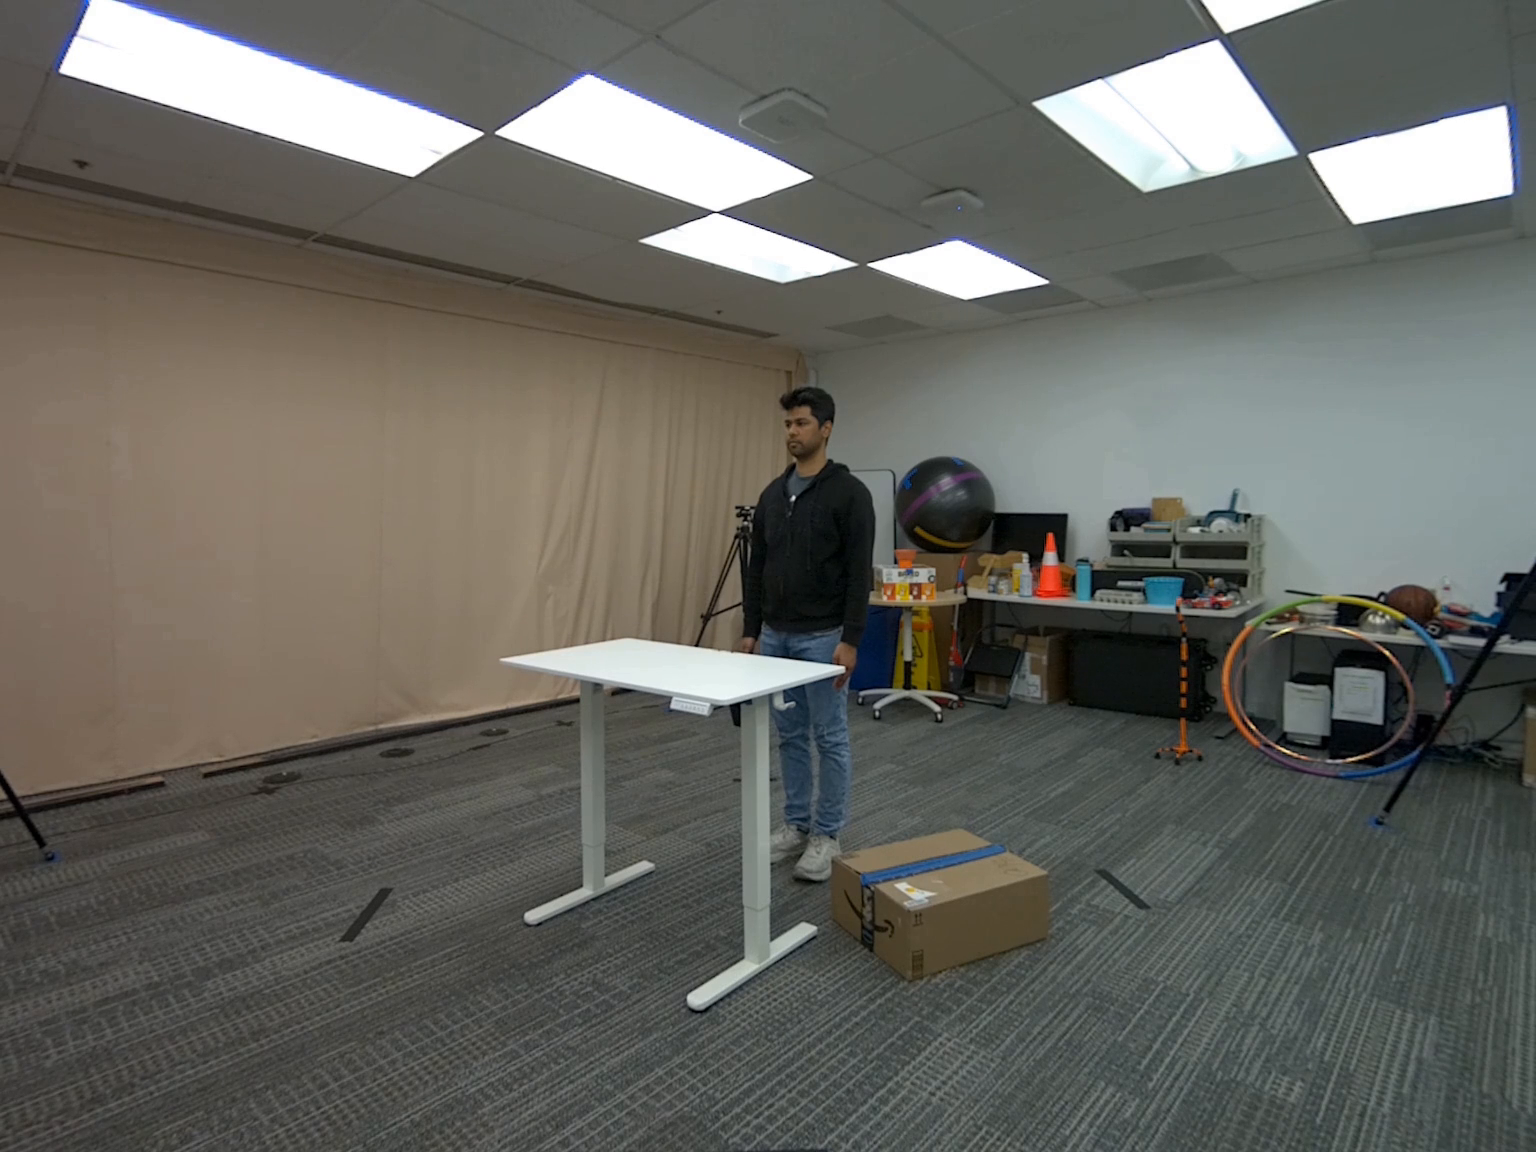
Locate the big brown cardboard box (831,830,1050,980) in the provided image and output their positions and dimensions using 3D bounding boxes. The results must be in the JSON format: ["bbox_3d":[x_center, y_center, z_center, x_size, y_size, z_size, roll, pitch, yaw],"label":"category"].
[{"bbox_3d":[0.561,1.051,2.759,0.574,0.232,0.429,-2,5,-28],"label":"big brown cardboard box"}]
